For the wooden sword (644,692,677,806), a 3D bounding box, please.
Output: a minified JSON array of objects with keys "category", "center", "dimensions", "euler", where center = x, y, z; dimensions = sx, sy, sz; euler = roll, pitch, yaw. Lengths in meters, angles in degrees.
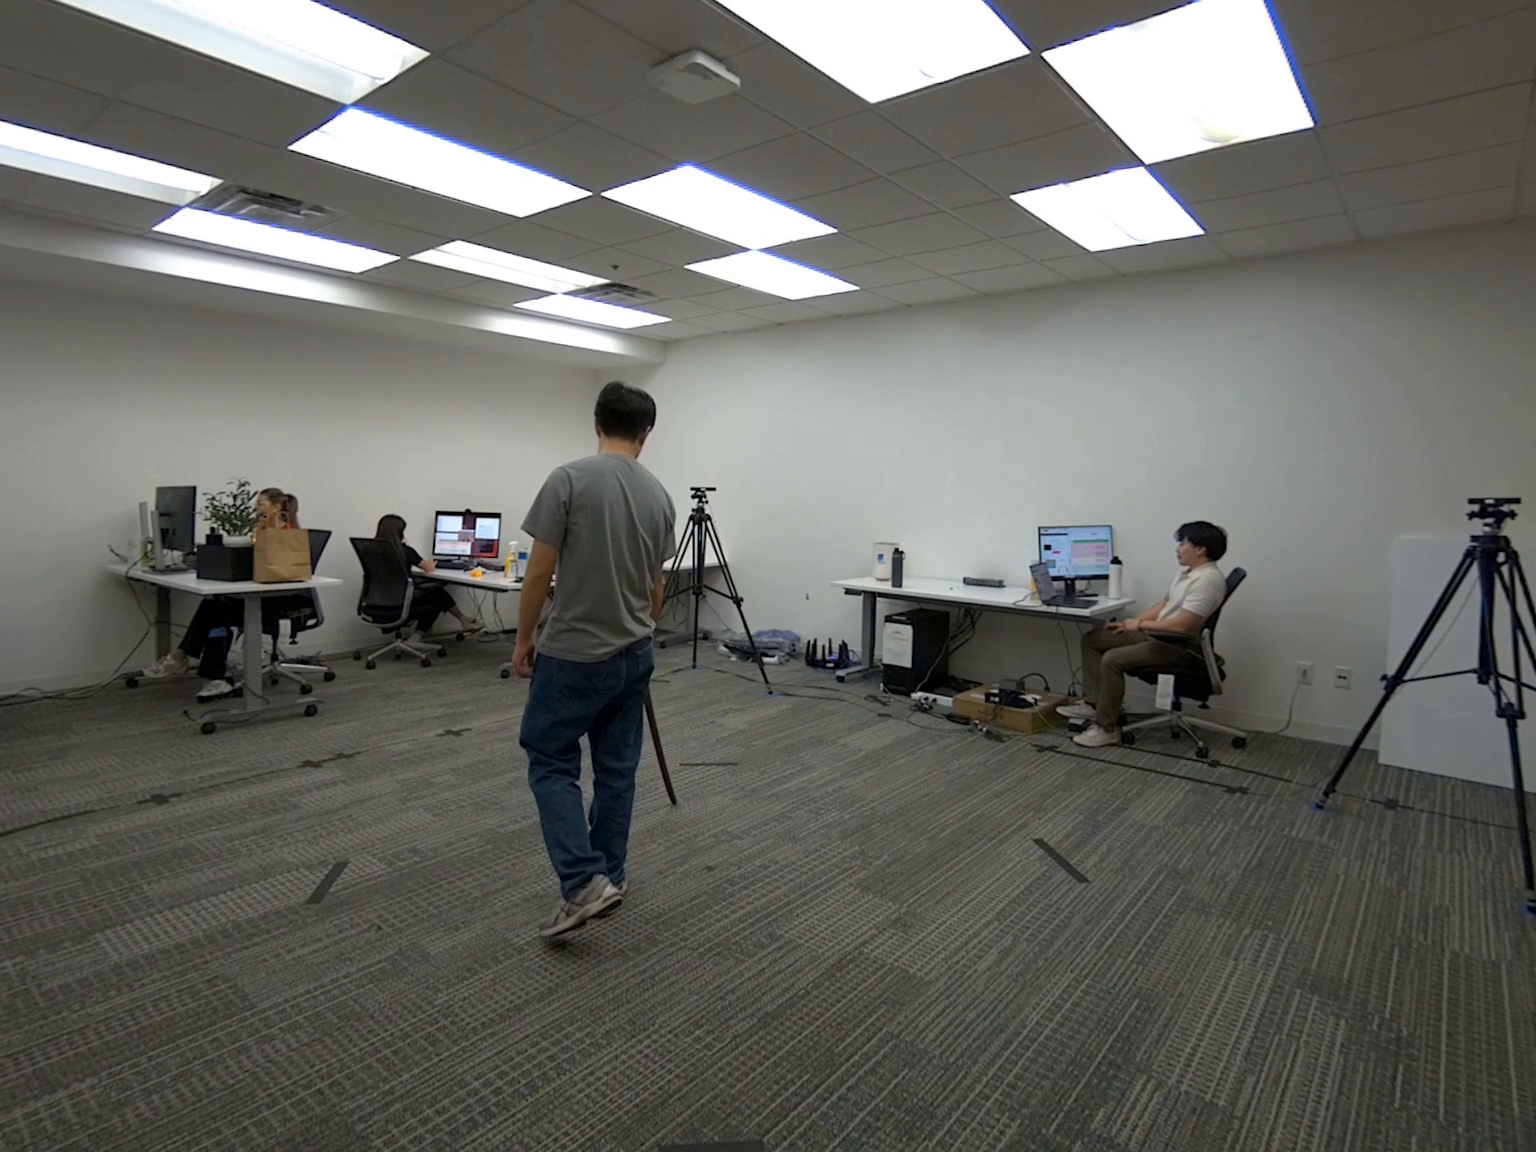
[{"category":"wooden sword","center":[-0.475,0.643,3.428],"dimensions":[0.024,0.992,0.053],"euler":[-18,42,-12]}]
